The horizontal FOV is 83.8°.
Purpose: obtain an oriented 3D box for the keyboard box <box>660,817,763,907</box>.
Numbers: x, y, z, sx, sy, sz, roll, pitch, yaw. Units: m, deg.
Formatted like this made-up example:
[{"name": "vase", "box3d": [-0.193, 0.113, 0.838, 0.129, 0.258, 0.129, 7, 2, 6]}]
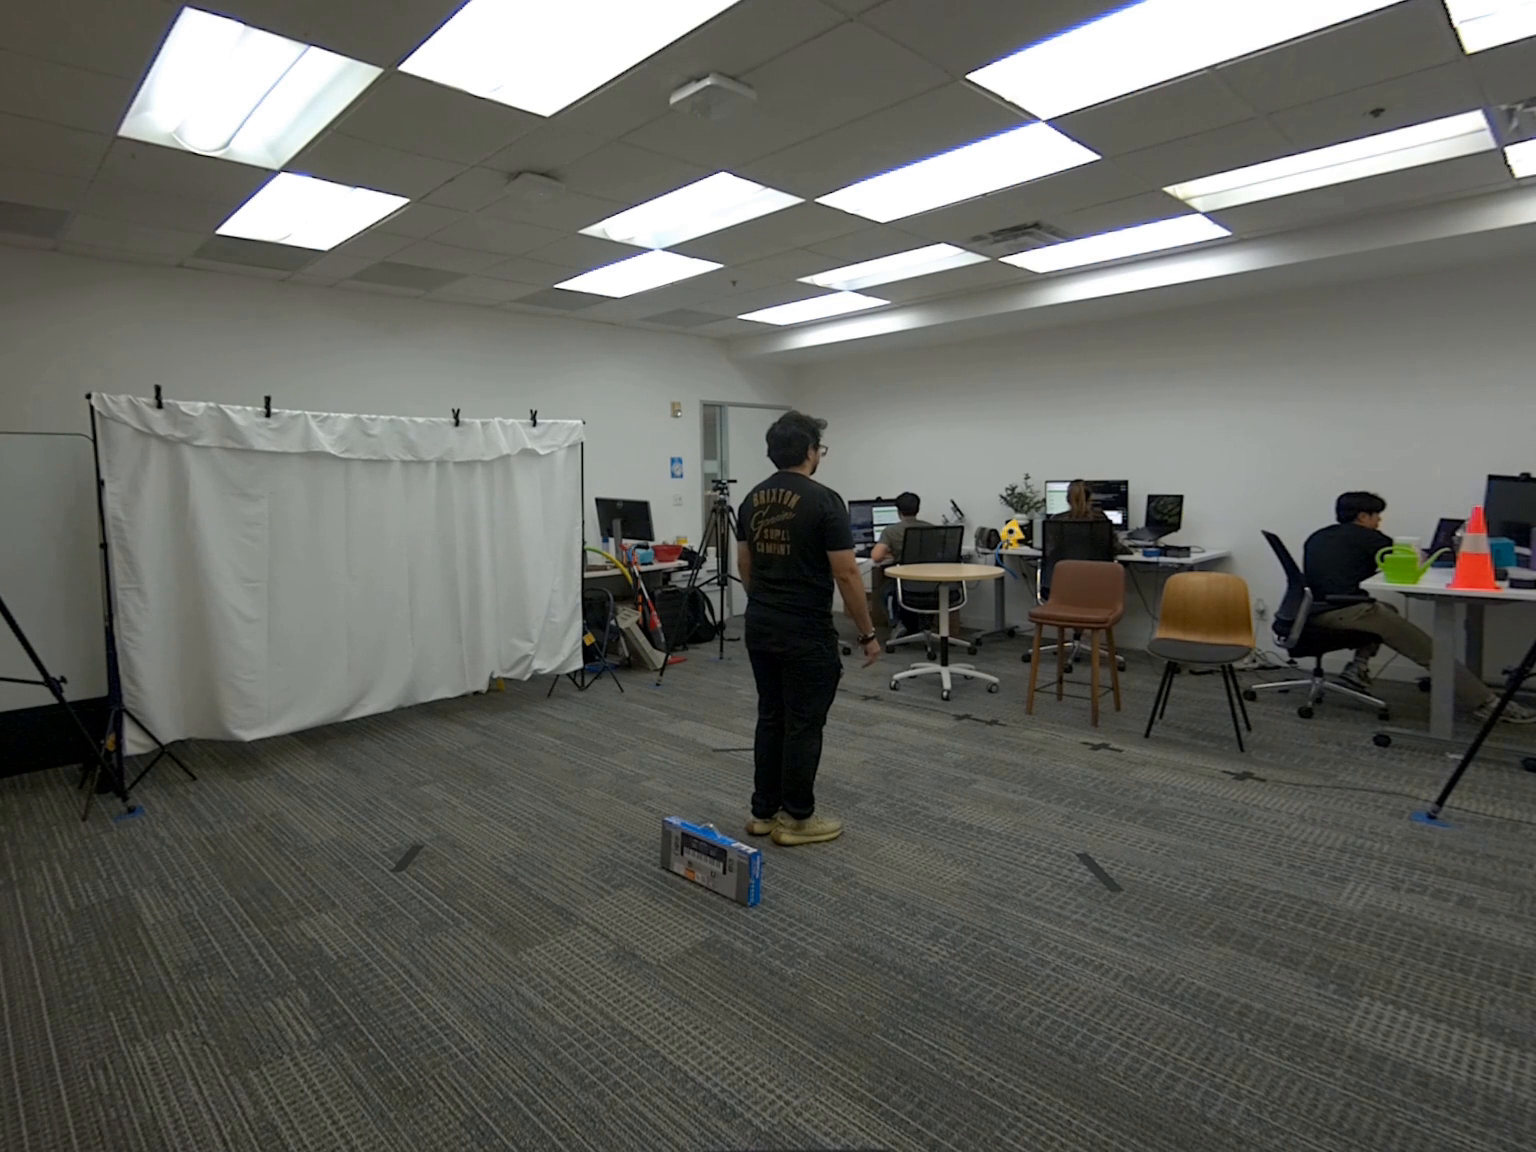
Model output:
[{"name": "keyboard box", "box3d": [-0.202, 0.980, 2.956, 0.450, 0.176, 0.057, 5, 3, 43]}]
